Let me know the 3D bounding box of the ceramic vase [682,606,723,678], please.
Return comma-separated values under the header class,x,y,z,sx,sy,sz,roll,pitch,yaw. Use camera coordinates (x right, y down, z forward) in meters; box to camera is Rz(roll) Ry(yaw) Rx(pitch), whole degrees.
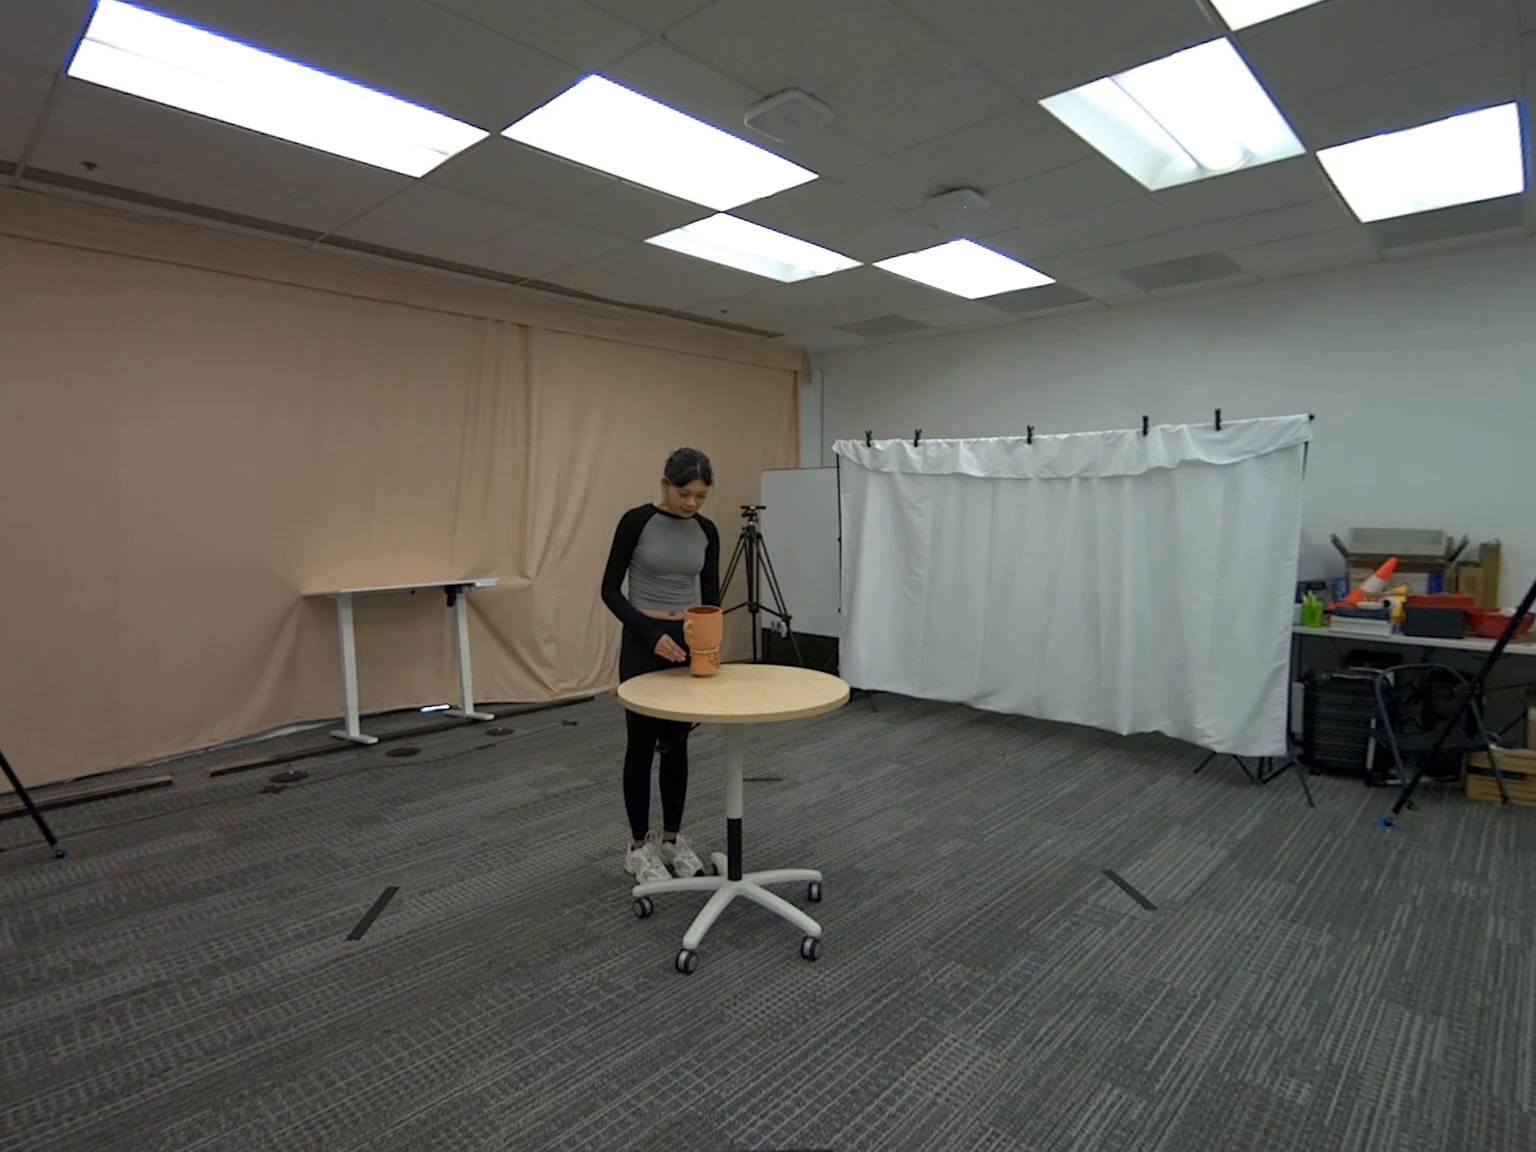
class,x,y,z,sx,sy,sz,roll,pitch,yaw
ceramic vase,-0.223,0.228,2.953,0.156,0.218,0.137,-3,9,-14
